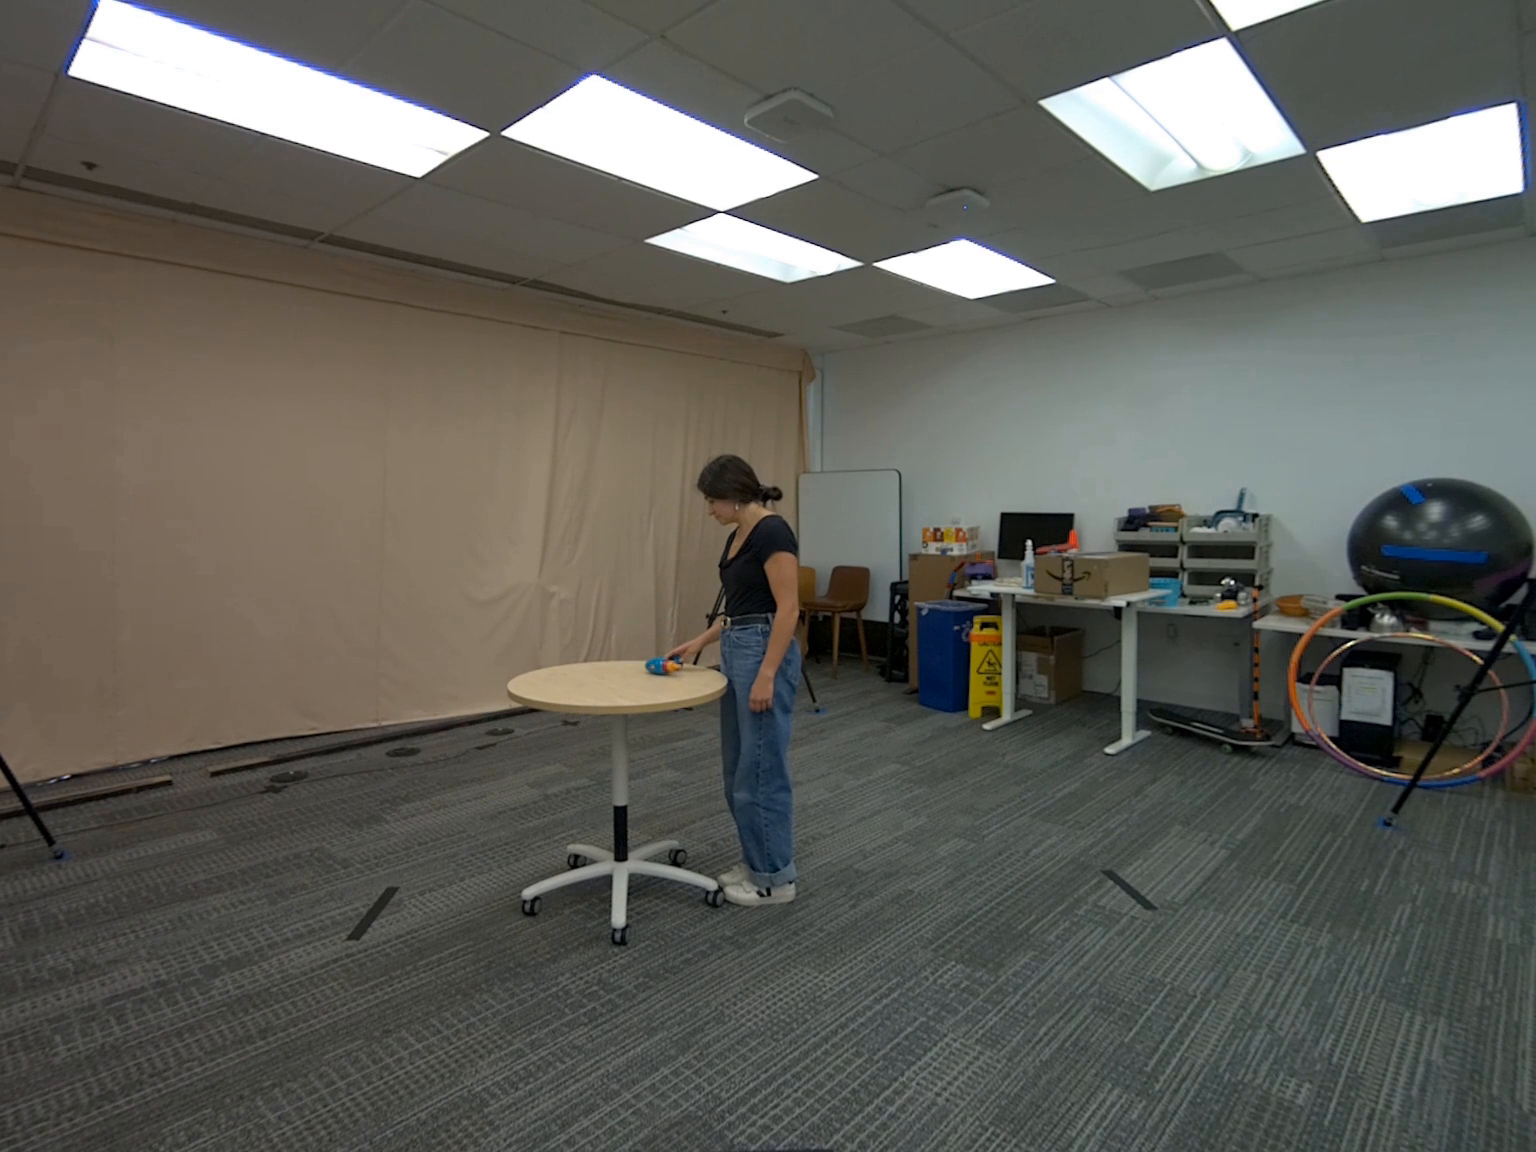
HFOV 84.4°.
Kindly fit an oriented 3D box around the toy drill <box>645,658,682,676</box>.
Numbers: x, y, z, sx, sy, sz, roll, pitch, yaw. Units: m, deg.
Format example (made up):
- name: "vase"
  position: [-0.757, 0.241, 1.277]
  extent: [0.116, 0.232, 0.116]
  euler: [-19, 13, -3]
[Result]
- name: "toy drill"
  position: [-0.353, 0.332, 3.092]
  extent: [0.175, 0.061, 0.142]
  euler: [-6, -1, 37]
